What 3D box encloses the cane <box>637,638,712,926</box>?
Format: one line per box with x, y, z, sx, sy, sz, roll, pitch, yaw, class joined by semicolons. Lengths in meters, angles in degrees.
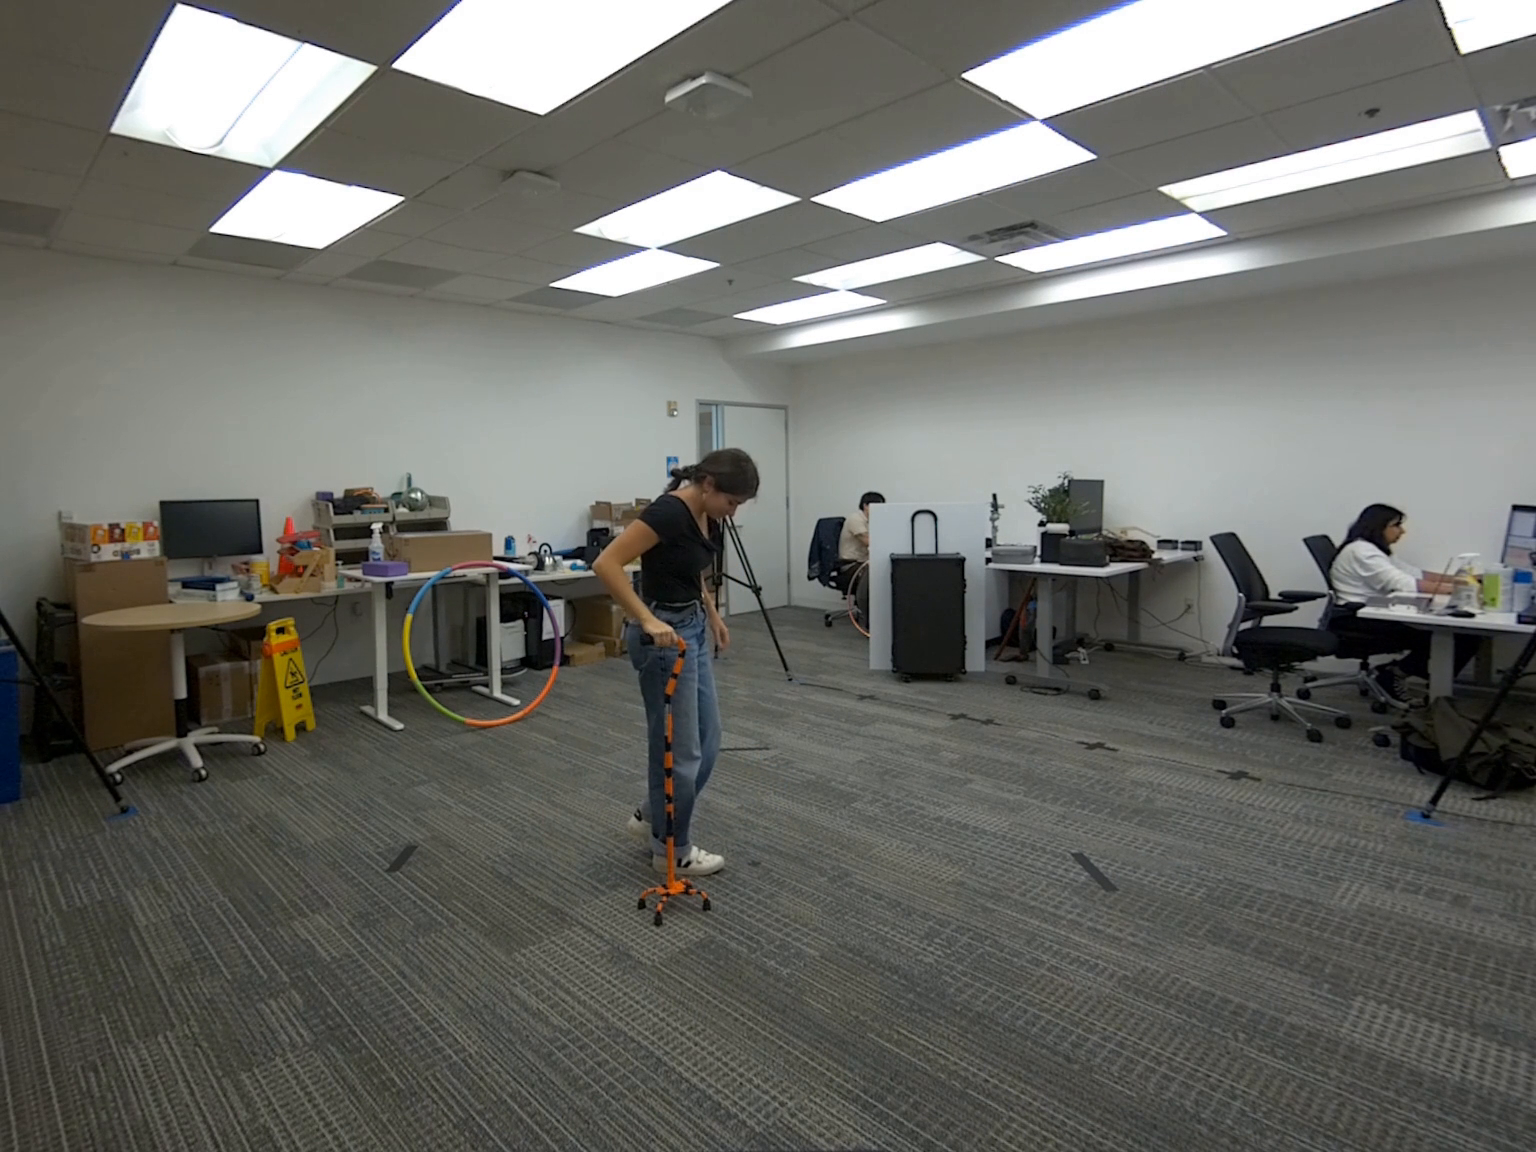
-0.302;0.638;2.767;0.201;0.905;0.156;-2;4;-33;cane
